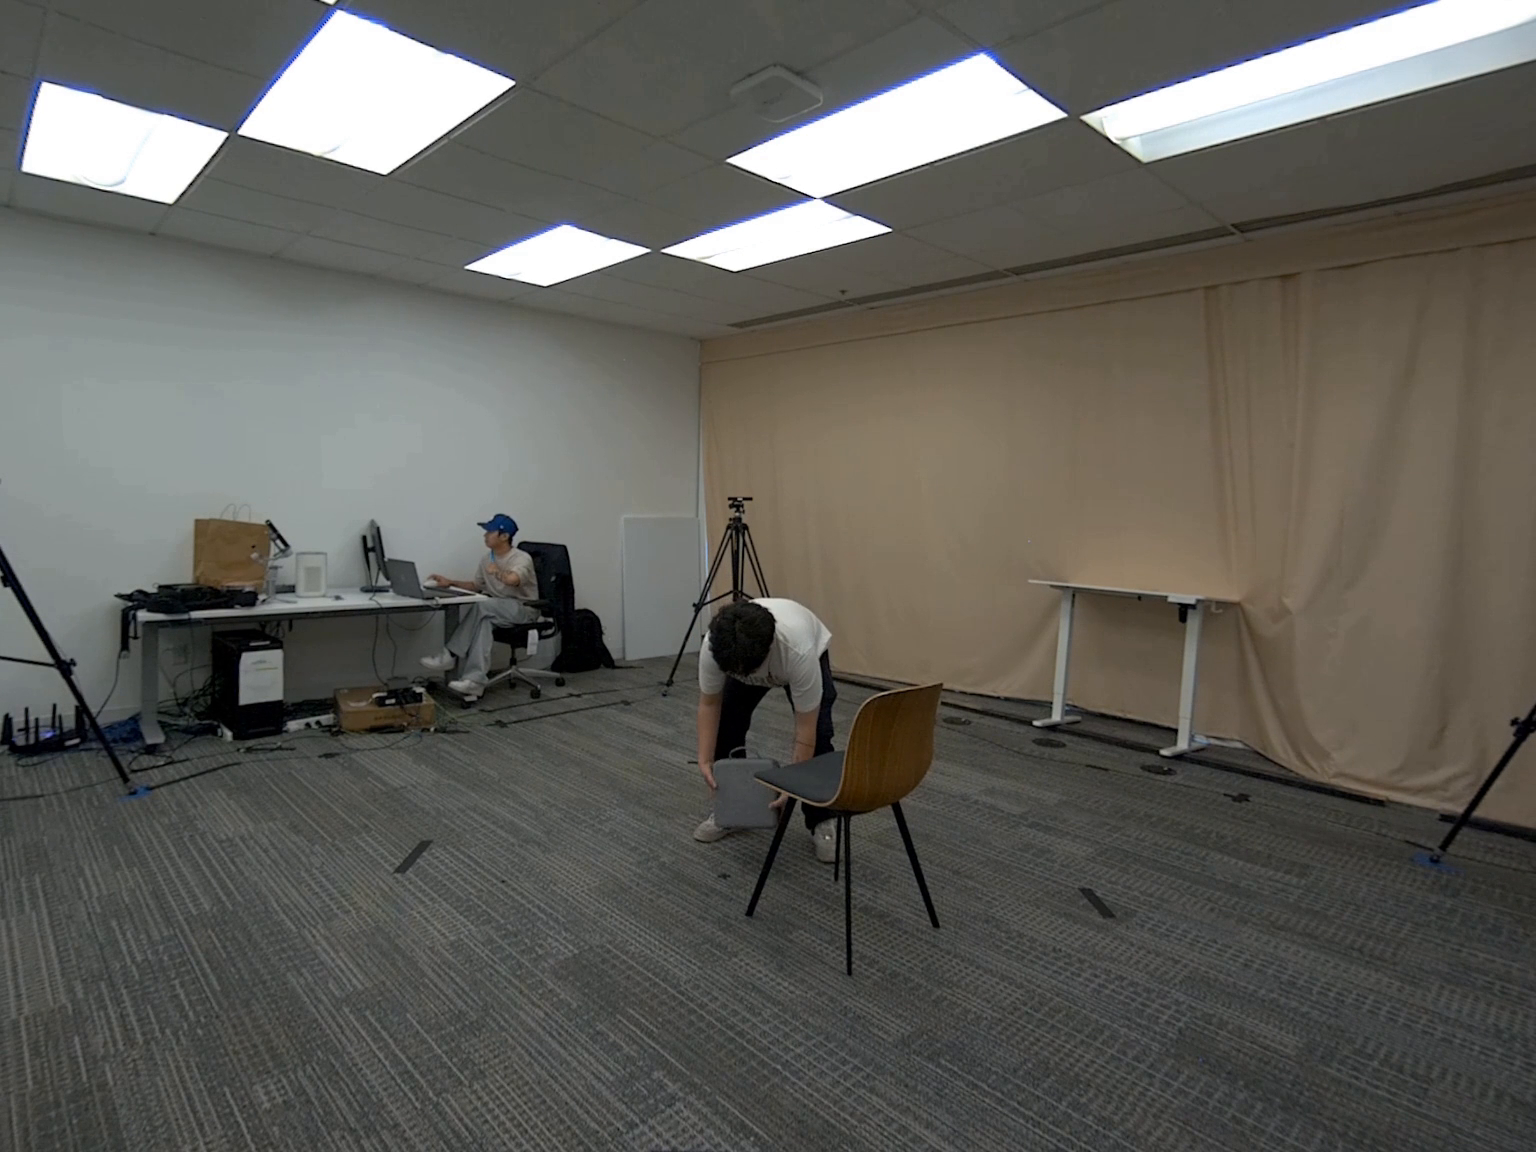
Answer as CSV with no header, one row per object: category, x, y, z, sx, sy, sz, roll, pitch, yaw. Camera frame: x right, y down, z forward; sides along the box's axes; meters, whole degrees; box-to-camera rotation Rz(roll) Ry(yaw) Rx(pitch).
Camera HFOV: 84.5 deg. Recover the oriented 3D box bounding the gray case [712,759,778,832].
gray case,-0.084,0.816,3.191,0.260,0.262,0.102,-1,-7,14
